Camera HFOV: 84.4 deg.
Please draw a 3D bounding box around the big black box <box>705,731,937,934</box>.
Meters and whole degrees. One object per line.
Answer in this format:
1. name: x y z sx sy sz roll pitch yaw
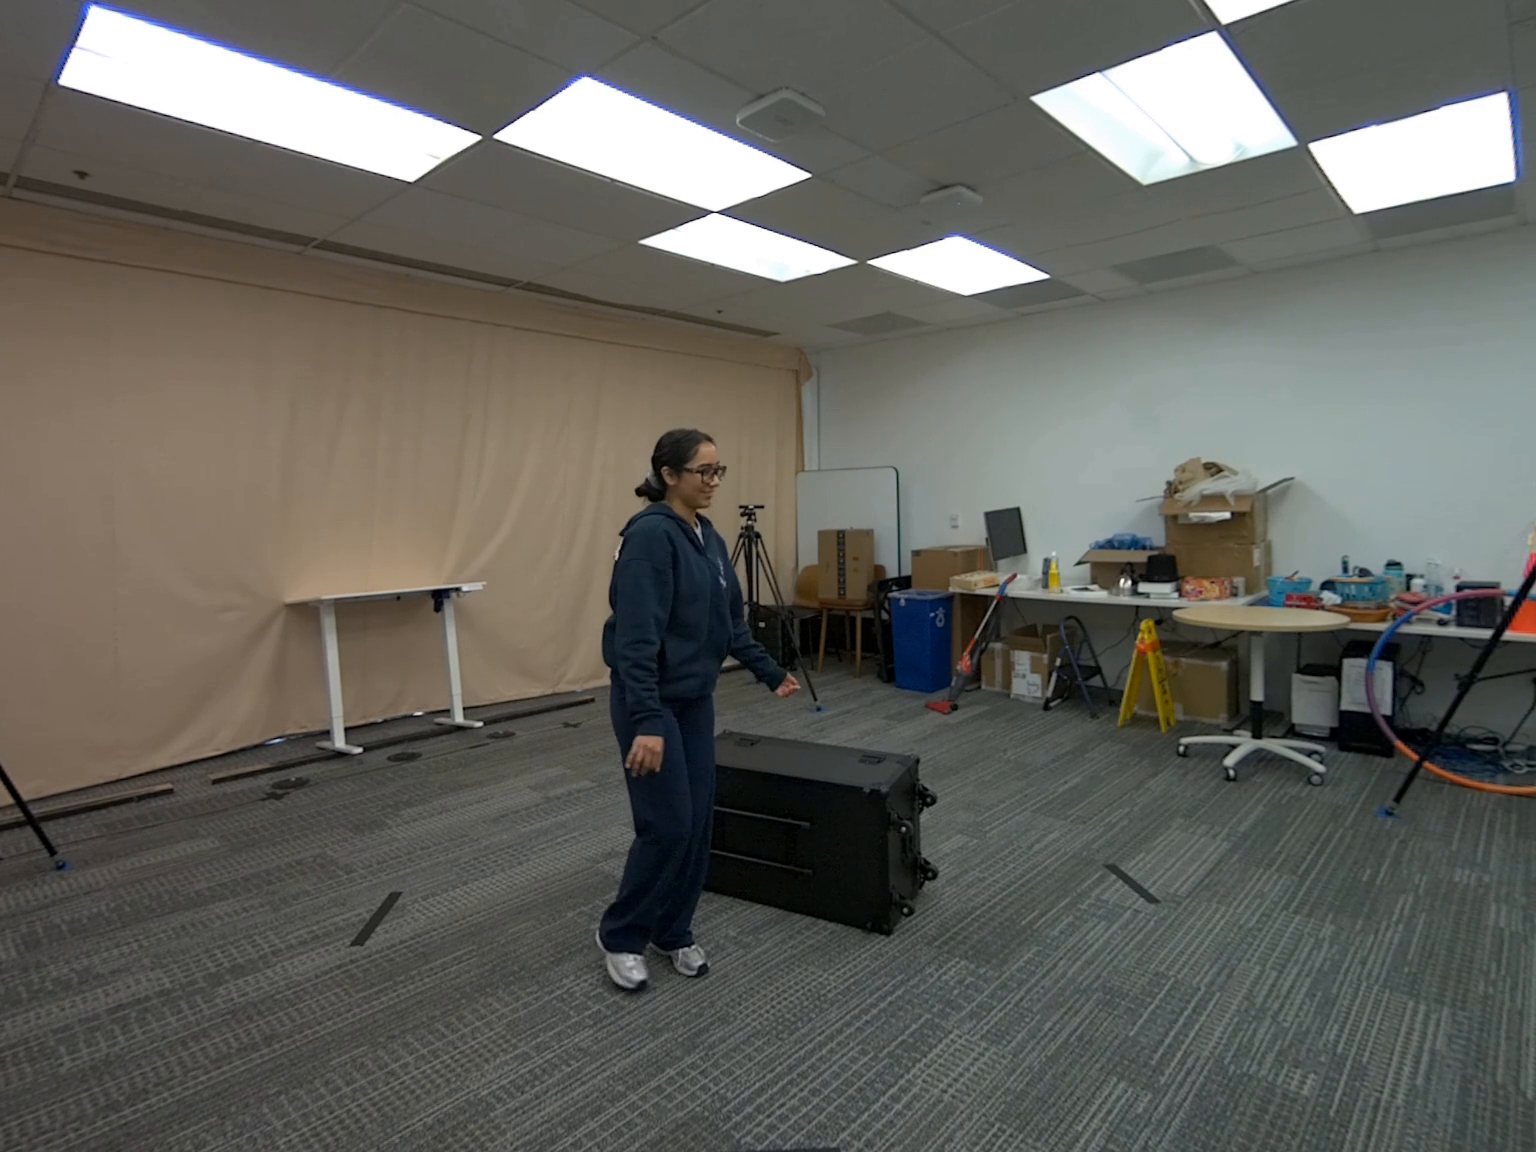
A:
1. big black box: 0.139 0.882 2.996 0.885 0.519 0.387 1 7 29
